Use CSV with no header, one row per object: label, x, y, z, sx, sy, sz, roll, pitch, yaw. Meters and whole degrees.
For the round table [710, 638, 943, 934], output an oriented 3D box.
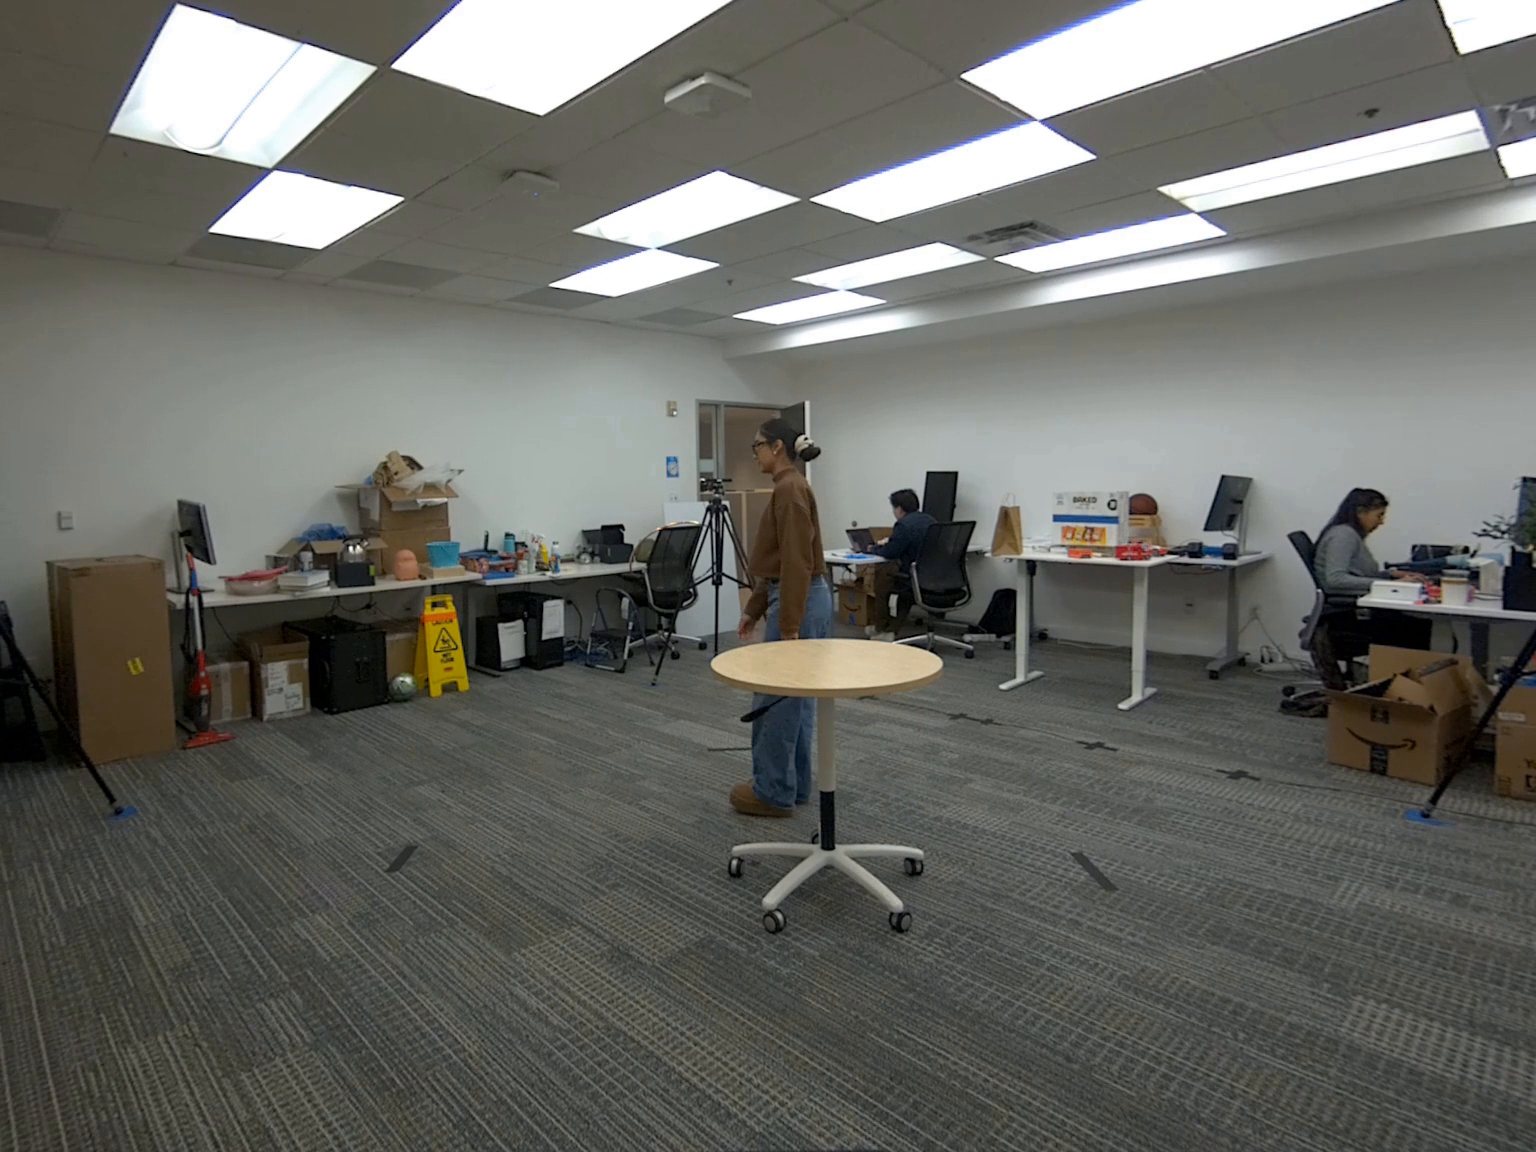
round table,0.206,0.679,2.887,0.763,0.791,0.768,-1,5,-2
